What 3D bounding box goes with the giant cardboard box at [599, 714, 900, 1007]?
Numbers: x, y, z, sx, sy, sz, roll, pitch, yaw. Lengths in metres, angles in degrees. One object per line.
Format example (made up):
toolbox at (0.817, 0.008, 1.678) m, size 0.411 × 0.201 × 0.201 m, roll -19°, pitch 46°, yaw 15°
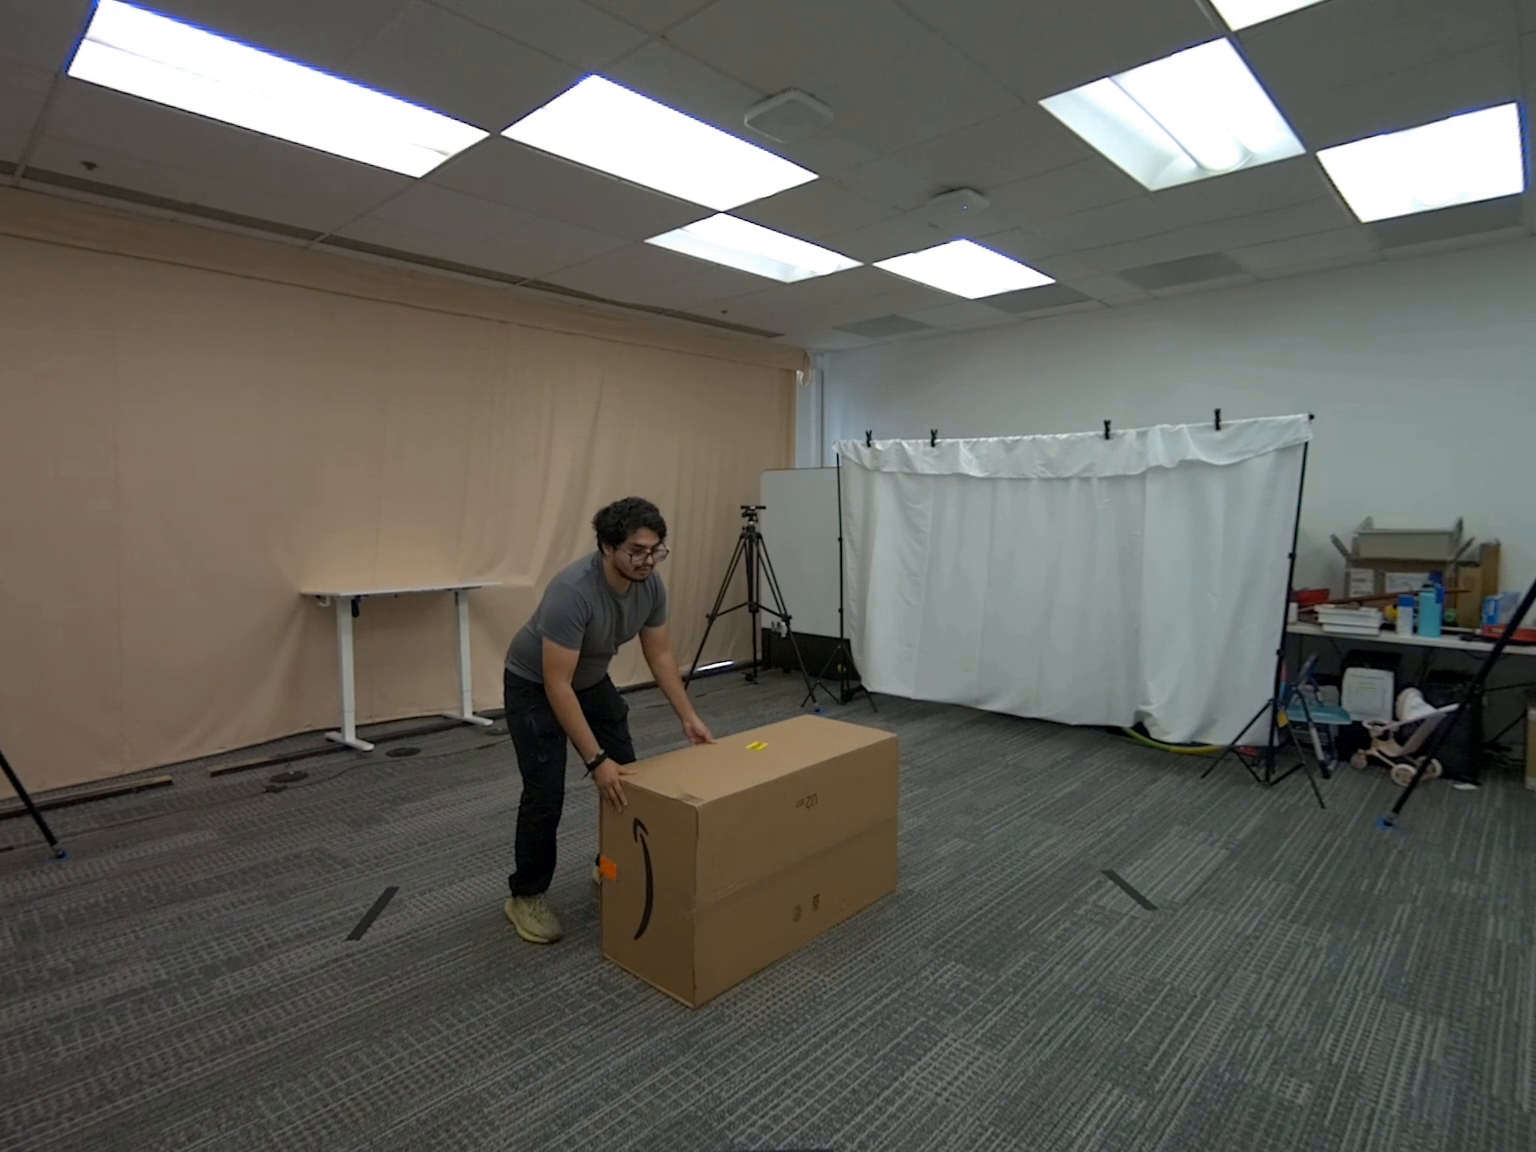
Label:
giant cardboard box at (-0.022, 0.872, 2.814) m, size 0.440 × 0.576 × 0.994 m, roll 4°, pitch 6°, yaw 43°
